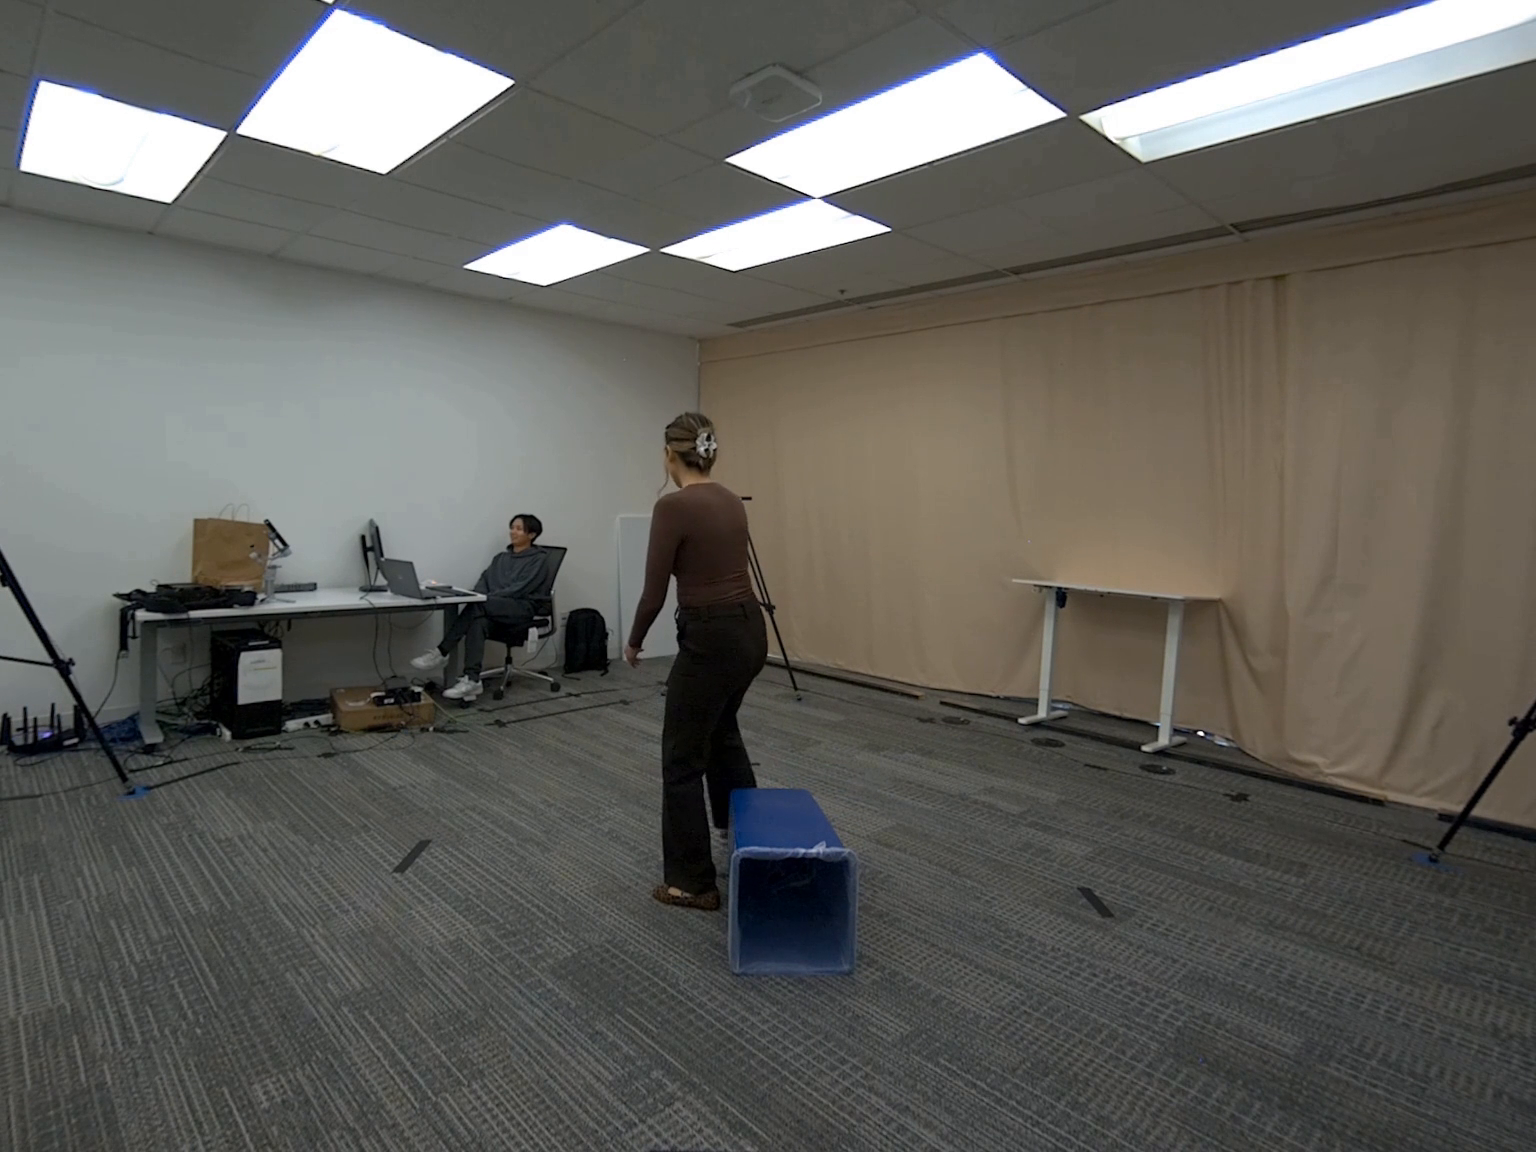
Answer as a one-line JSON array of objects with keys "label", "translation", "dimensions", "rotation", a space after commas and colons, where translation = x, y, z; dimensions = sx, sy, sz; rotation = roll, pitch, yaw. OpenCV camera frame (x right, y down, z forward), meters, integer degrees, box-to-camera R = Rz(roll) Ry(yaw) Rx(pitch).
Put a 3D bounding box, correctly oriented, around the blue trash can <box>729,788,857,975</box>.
[{"label": "blue trash can", "translation": [0.031, 0.973, 2.808], "dimensions": [0.372, 0.378, 0.717], "rotation": [1, 2, -6]}]
